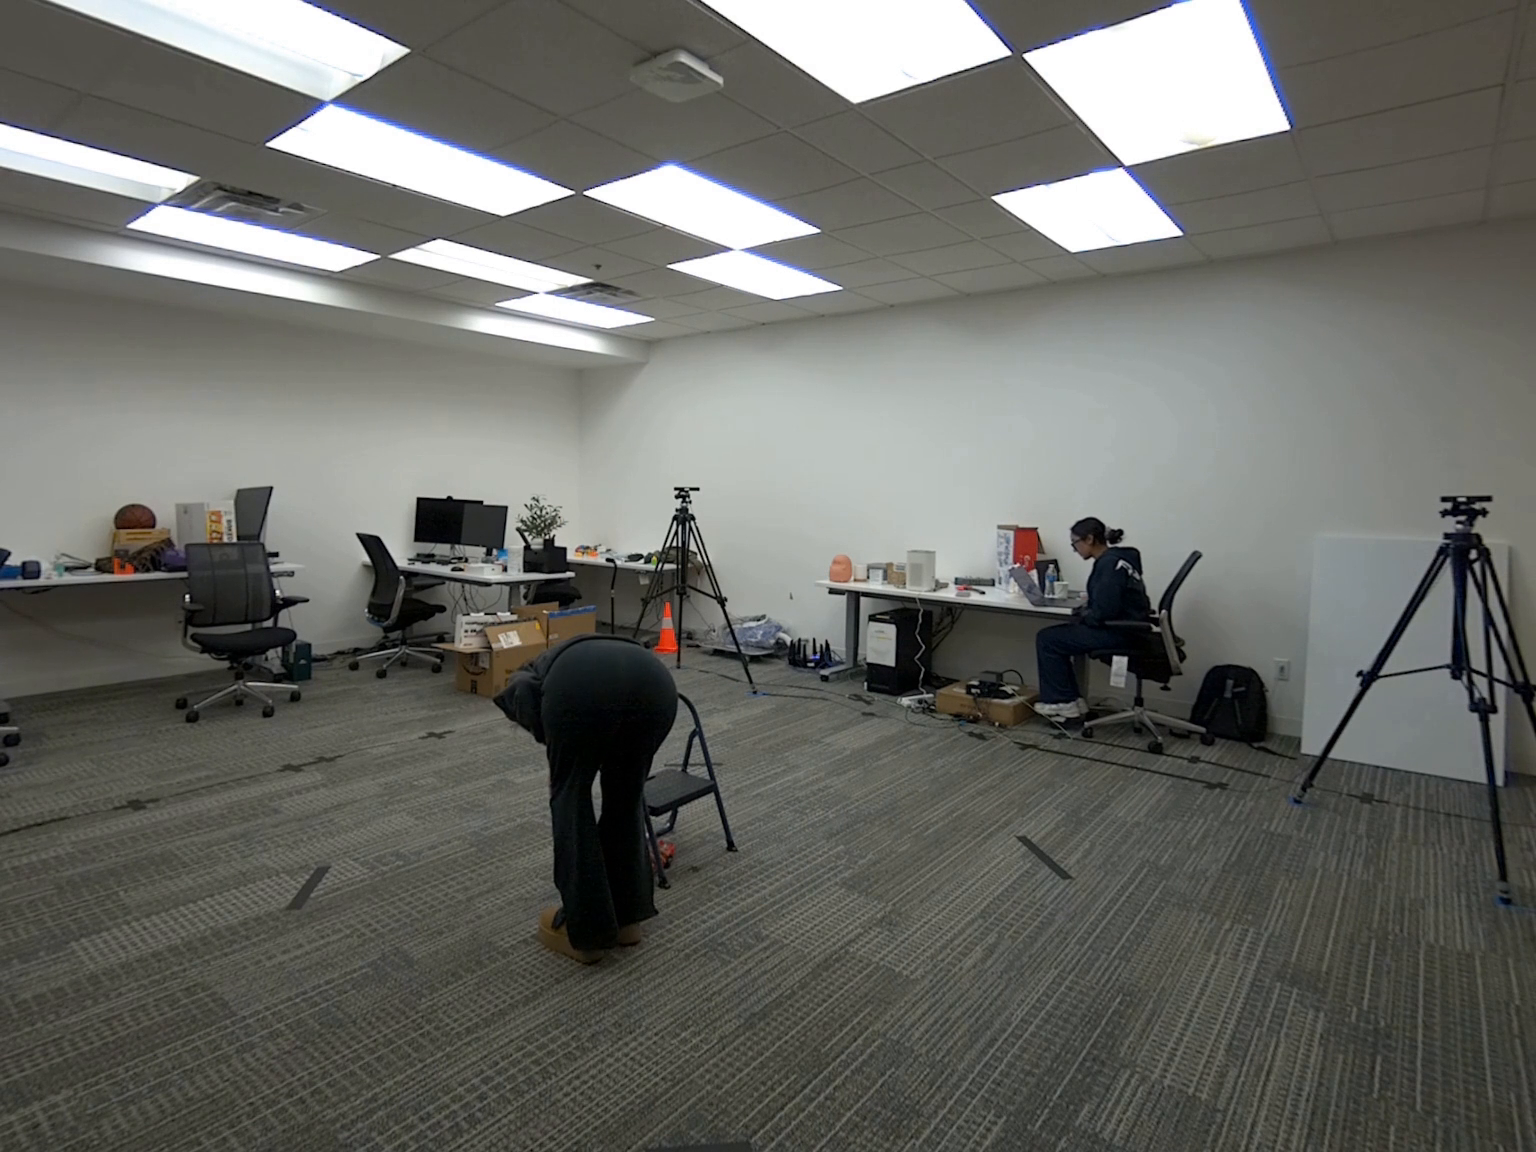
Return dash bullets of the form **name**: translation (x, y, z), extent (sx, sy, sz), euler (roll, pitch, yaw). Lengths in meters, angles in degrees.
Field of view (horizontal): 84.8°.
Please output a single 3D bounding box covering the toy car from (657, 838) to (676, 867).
- **toy car**: translation (-0.424, 1.033, 3.090), extent (0.134, 0.082, 0.251), euler (3, 16, 24)
